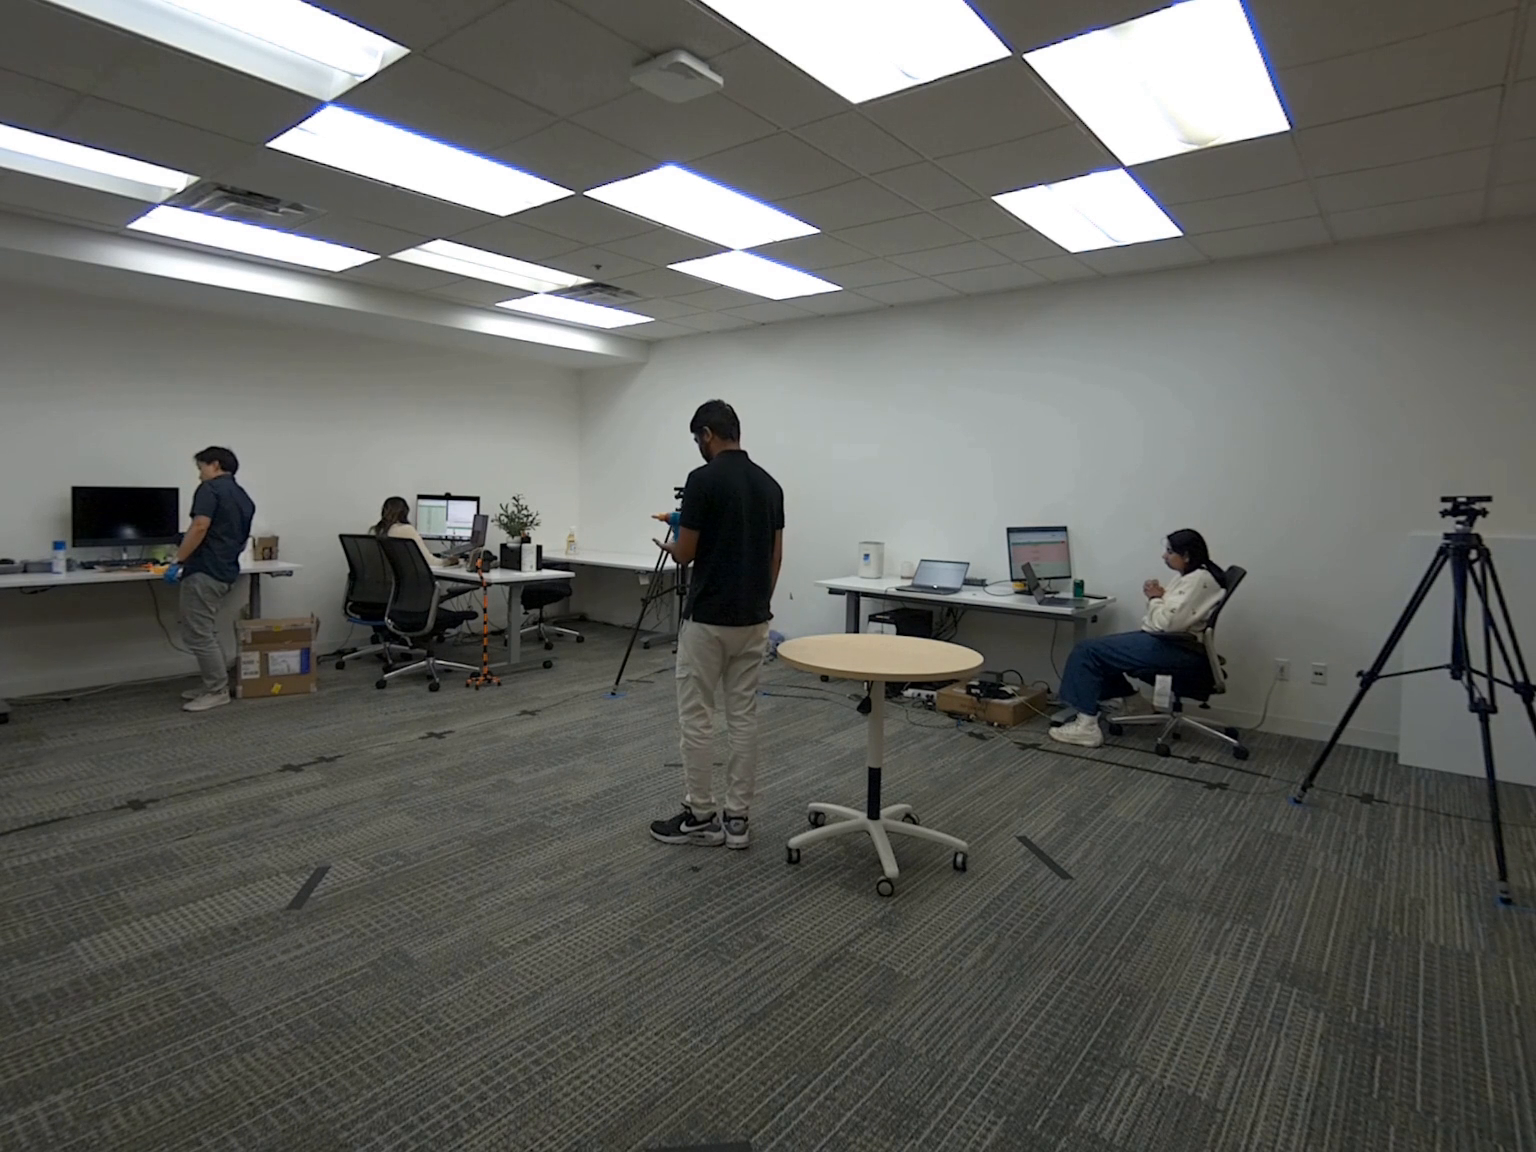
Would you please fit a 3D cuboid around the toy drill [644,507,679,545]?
[{"bbox_3d":[-0.422,-0.204,3.525,0.166,0.146,0.063,7,3,-21],"label":"toy drill"}]
